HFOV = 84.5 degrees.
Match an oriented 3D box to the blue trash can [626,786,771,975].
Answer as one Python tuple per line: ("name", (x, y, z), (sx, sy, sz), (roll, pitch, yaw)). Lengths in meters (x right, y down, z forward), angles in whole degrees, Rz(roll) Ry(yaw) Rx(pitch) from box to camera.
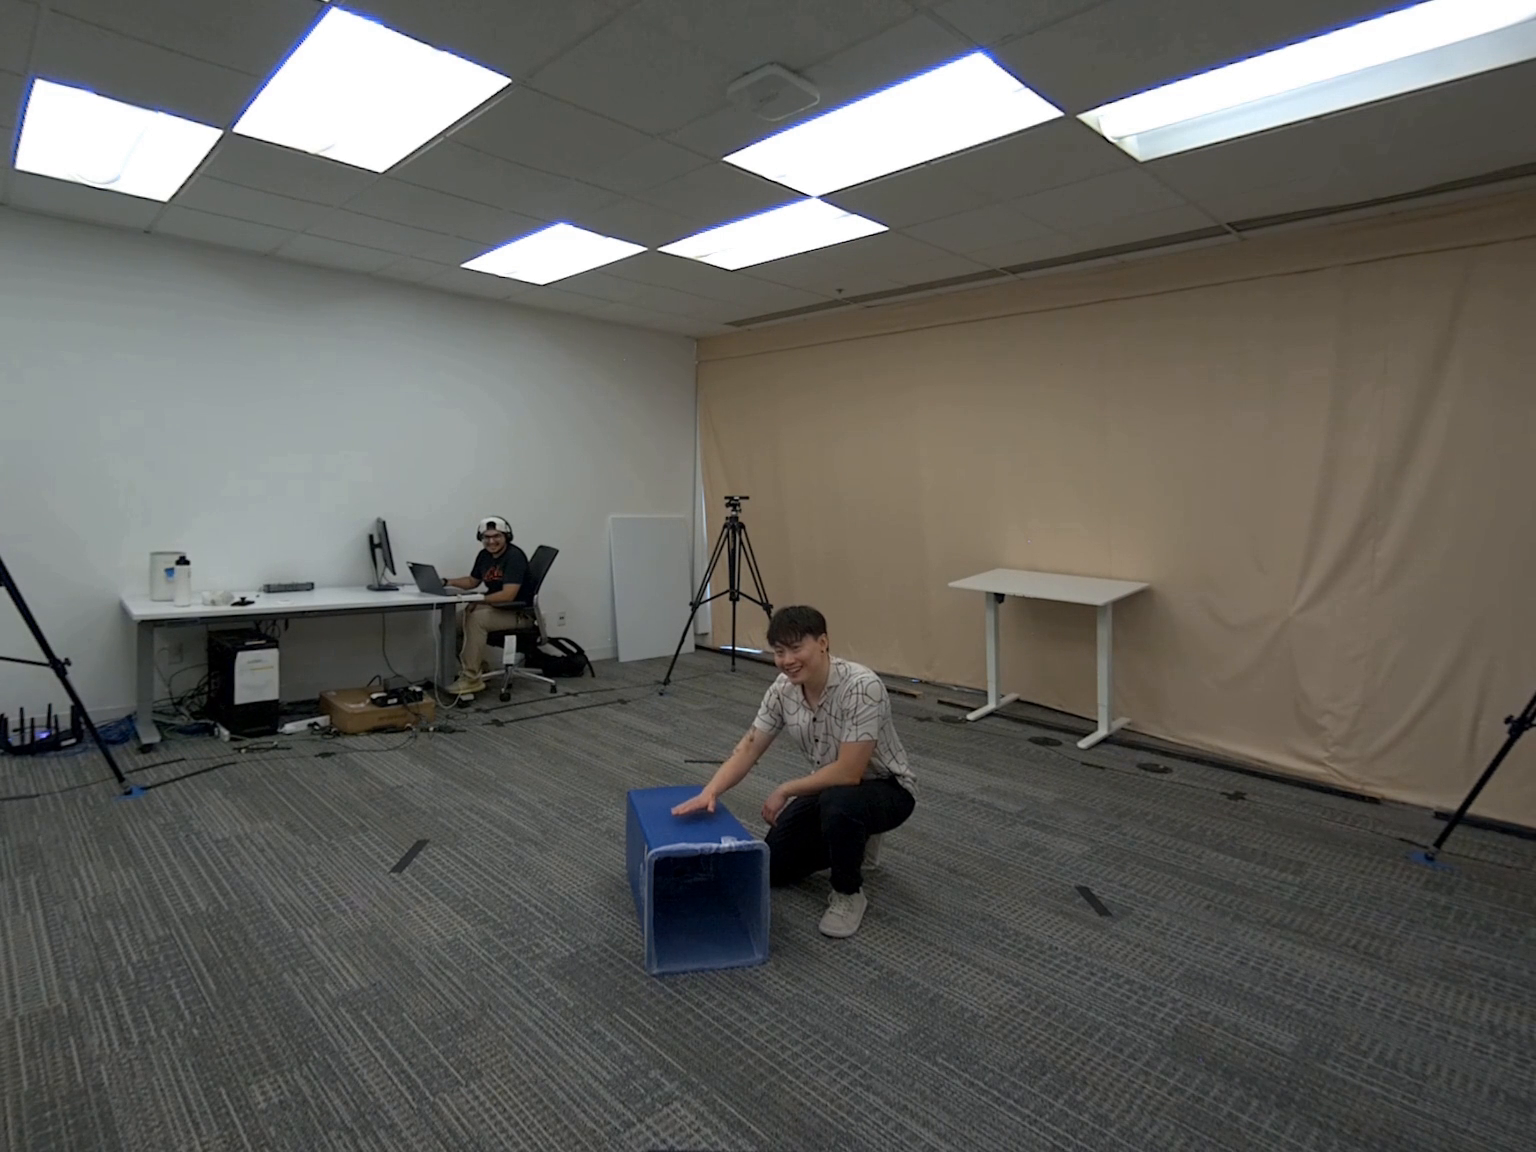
("blue trash can", (-0.274, 0.960, 2.807), (0.373, 0.374, 0.722), (1, 1, -16))
